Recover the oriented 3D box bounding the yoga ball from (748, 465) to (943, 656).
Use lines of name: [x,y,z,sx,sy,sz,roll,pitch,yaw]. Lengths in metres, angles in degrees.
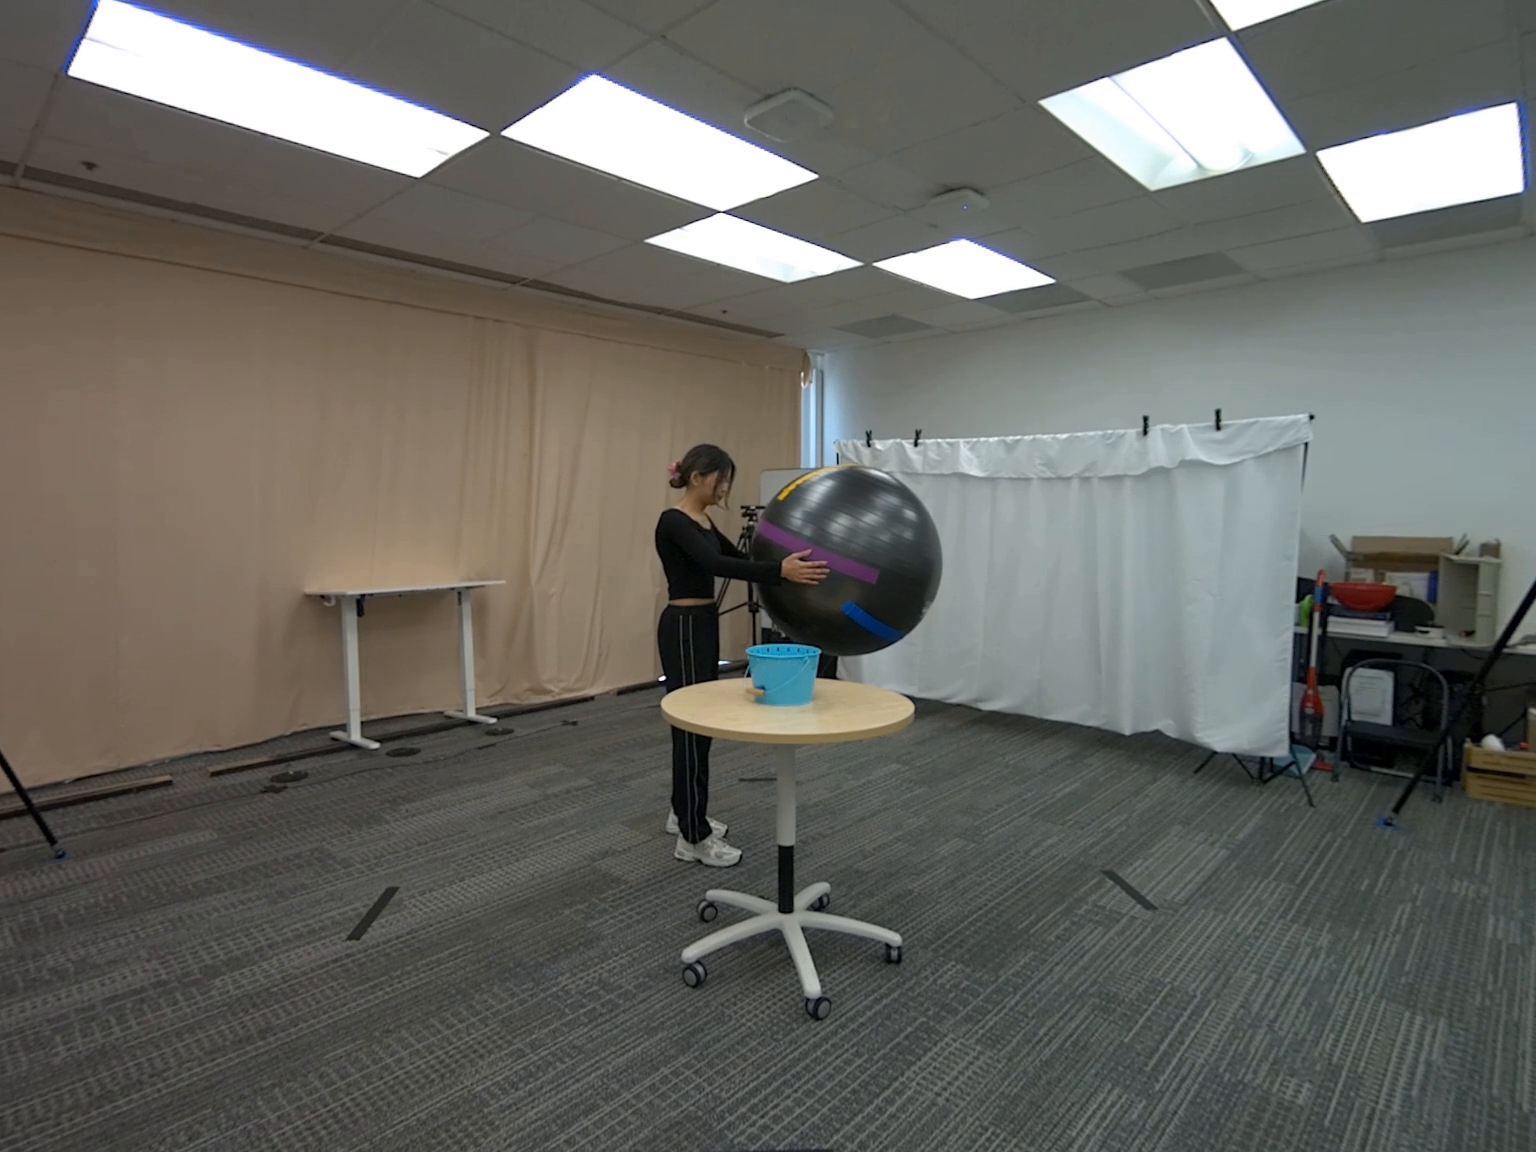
yoga ball: [0.329,-0.059,3.373,0.757,0.756,0.760,0,4,-2]
